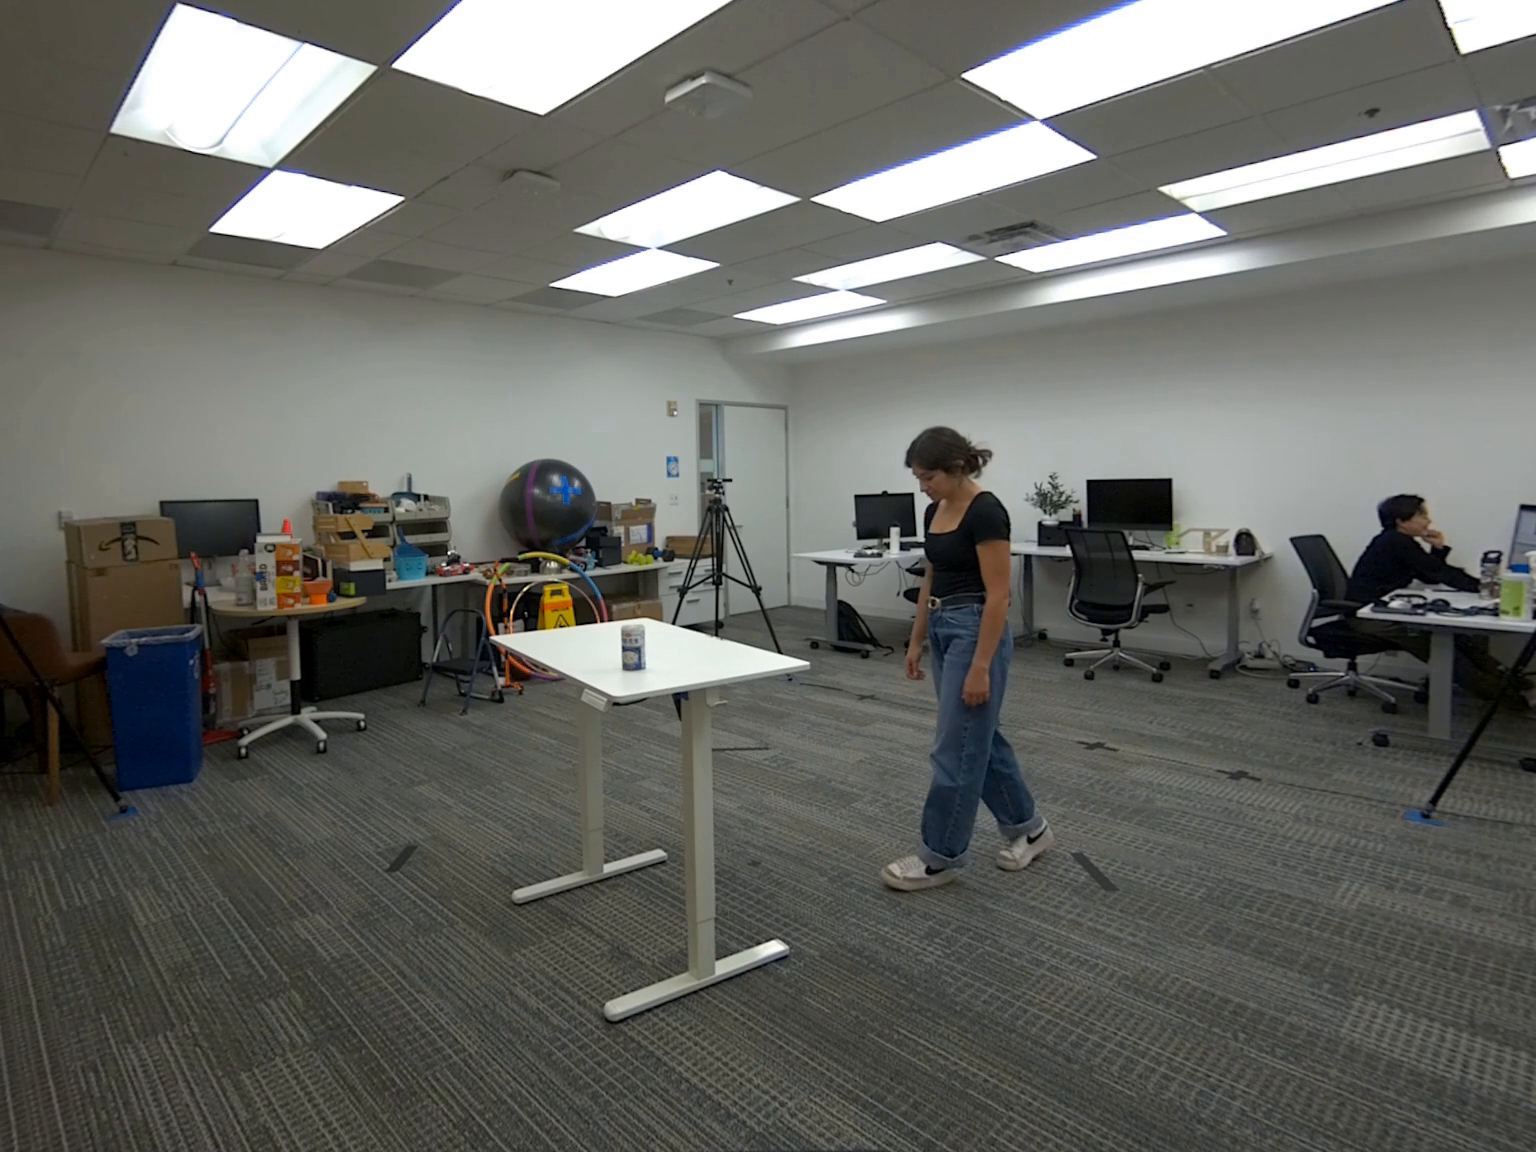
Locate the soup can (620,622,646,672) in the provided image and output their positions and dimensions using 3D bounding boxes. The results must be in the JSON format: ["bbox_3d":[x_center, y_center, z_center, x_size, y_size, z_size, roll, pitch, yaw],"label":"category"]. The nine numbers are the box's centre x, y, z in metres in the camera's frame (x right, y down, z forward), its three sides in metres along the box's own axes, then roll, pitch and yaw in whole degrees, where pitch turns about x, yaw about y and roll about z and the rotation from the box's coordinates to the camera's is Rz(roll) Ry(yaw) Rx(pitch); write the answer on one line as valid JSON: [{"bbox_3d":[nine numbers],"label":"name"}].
[{"bbox_3d":[-0.364,0.201,2.344,0.067,0.121,0.067,0,7,-2],"label":"soup can"}]
